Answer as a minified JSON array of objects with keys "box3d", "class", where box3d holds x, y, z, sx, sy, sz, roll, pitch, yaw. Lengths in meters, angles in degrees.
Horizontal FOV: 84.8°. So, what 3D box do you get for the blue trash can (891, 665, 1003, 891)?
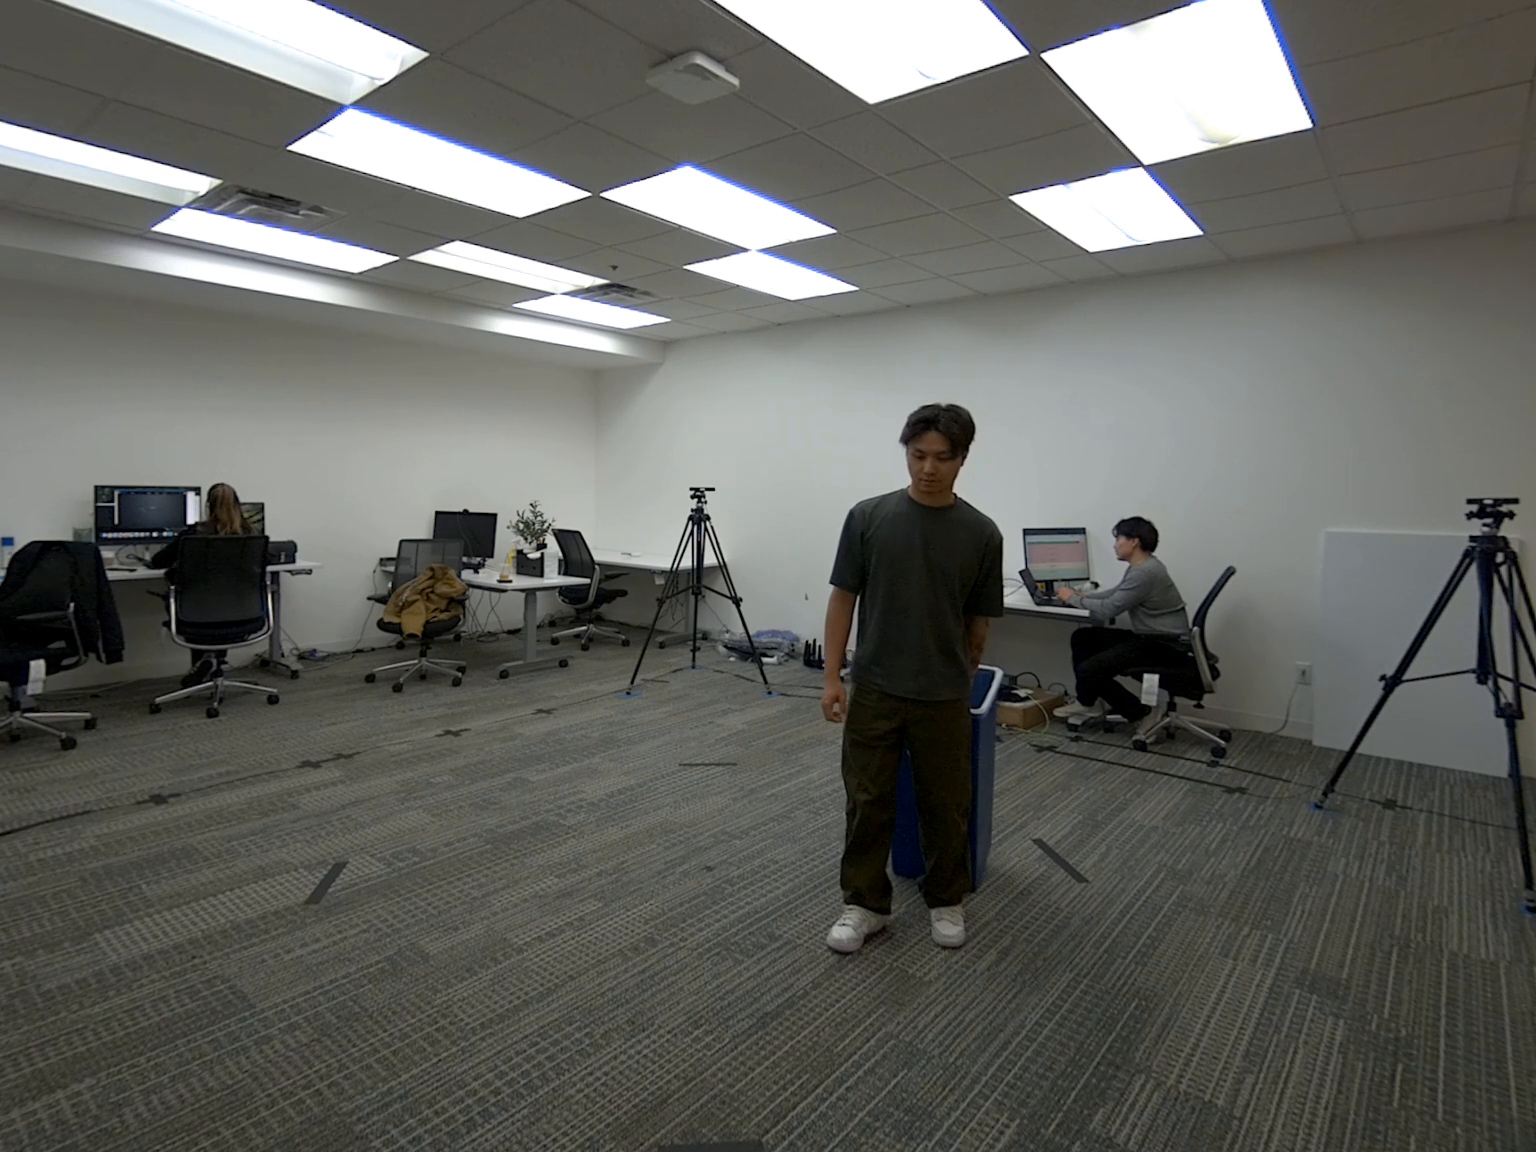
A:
[{"box3d":[0.625,0.706,3.065,0.384,0.703,0.373,3,16,26],"class":"blue trash can"}]
